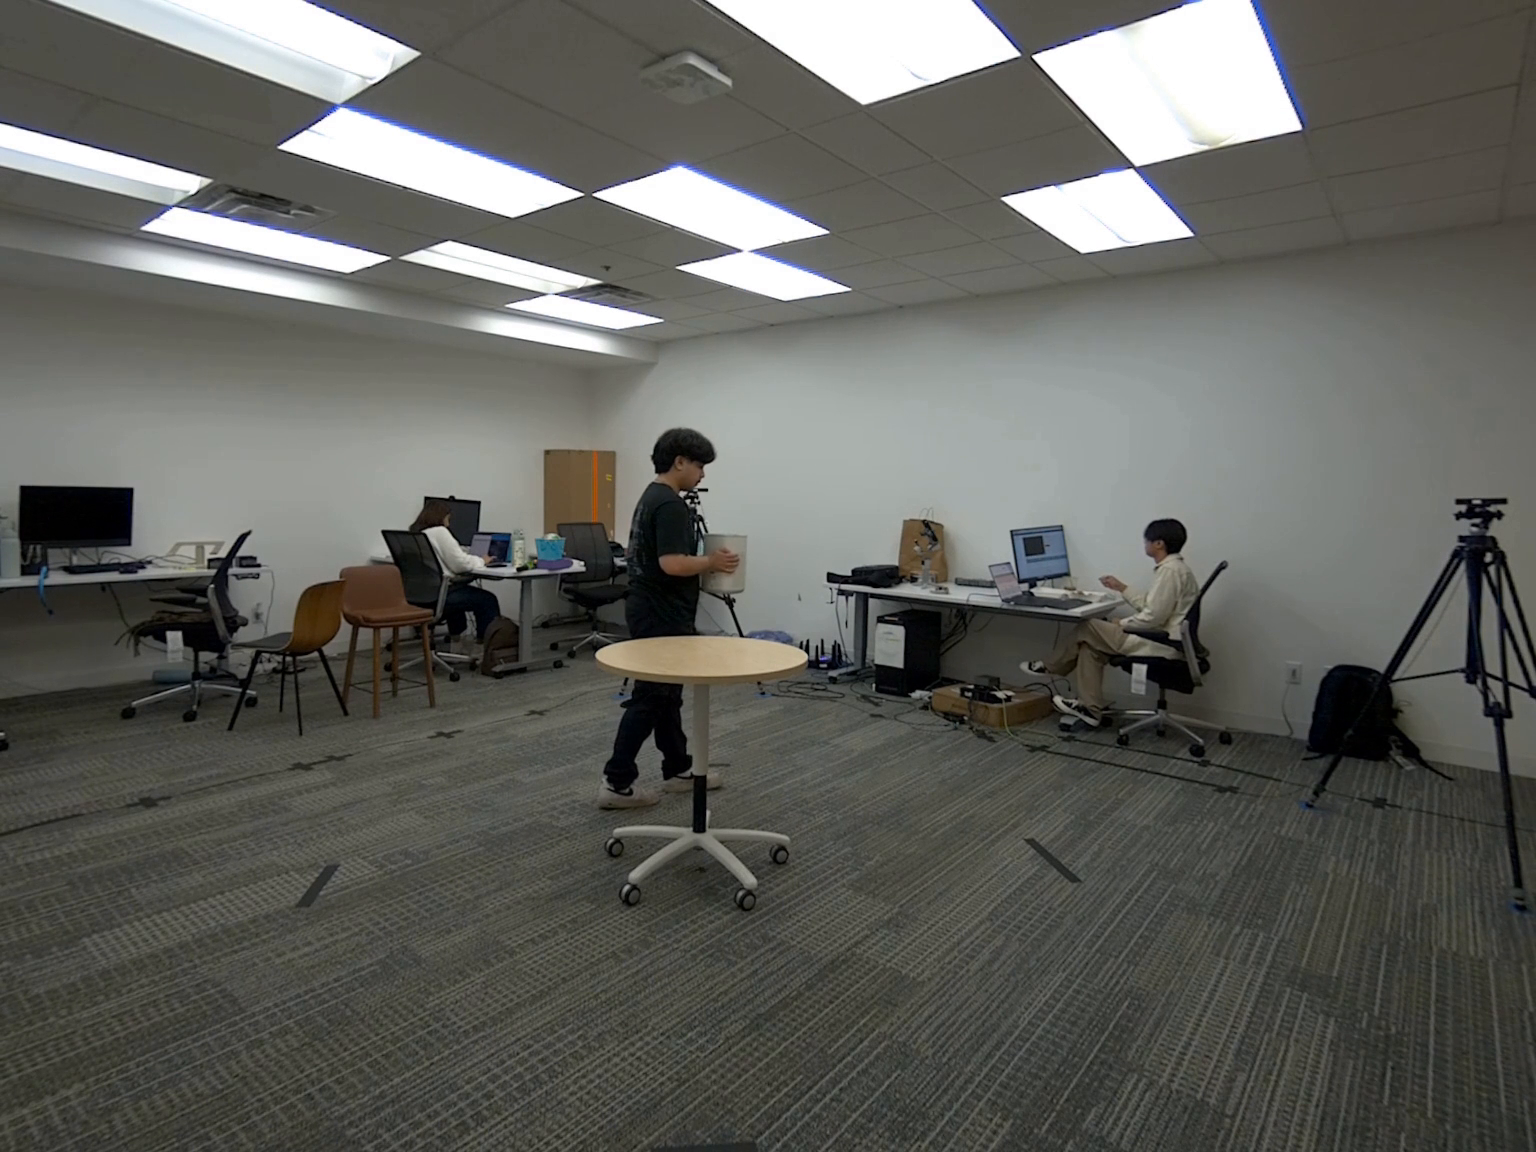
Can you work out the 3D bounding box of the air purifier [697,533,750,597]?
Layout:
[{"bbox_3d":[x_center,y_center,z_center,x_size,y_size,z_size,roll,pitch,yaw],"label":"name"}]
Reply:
[{"bbox_3d":[-0.212,-0.057,3.849,0.176,0.265,0.166,5,4,34],"label":"air purifier"}]
